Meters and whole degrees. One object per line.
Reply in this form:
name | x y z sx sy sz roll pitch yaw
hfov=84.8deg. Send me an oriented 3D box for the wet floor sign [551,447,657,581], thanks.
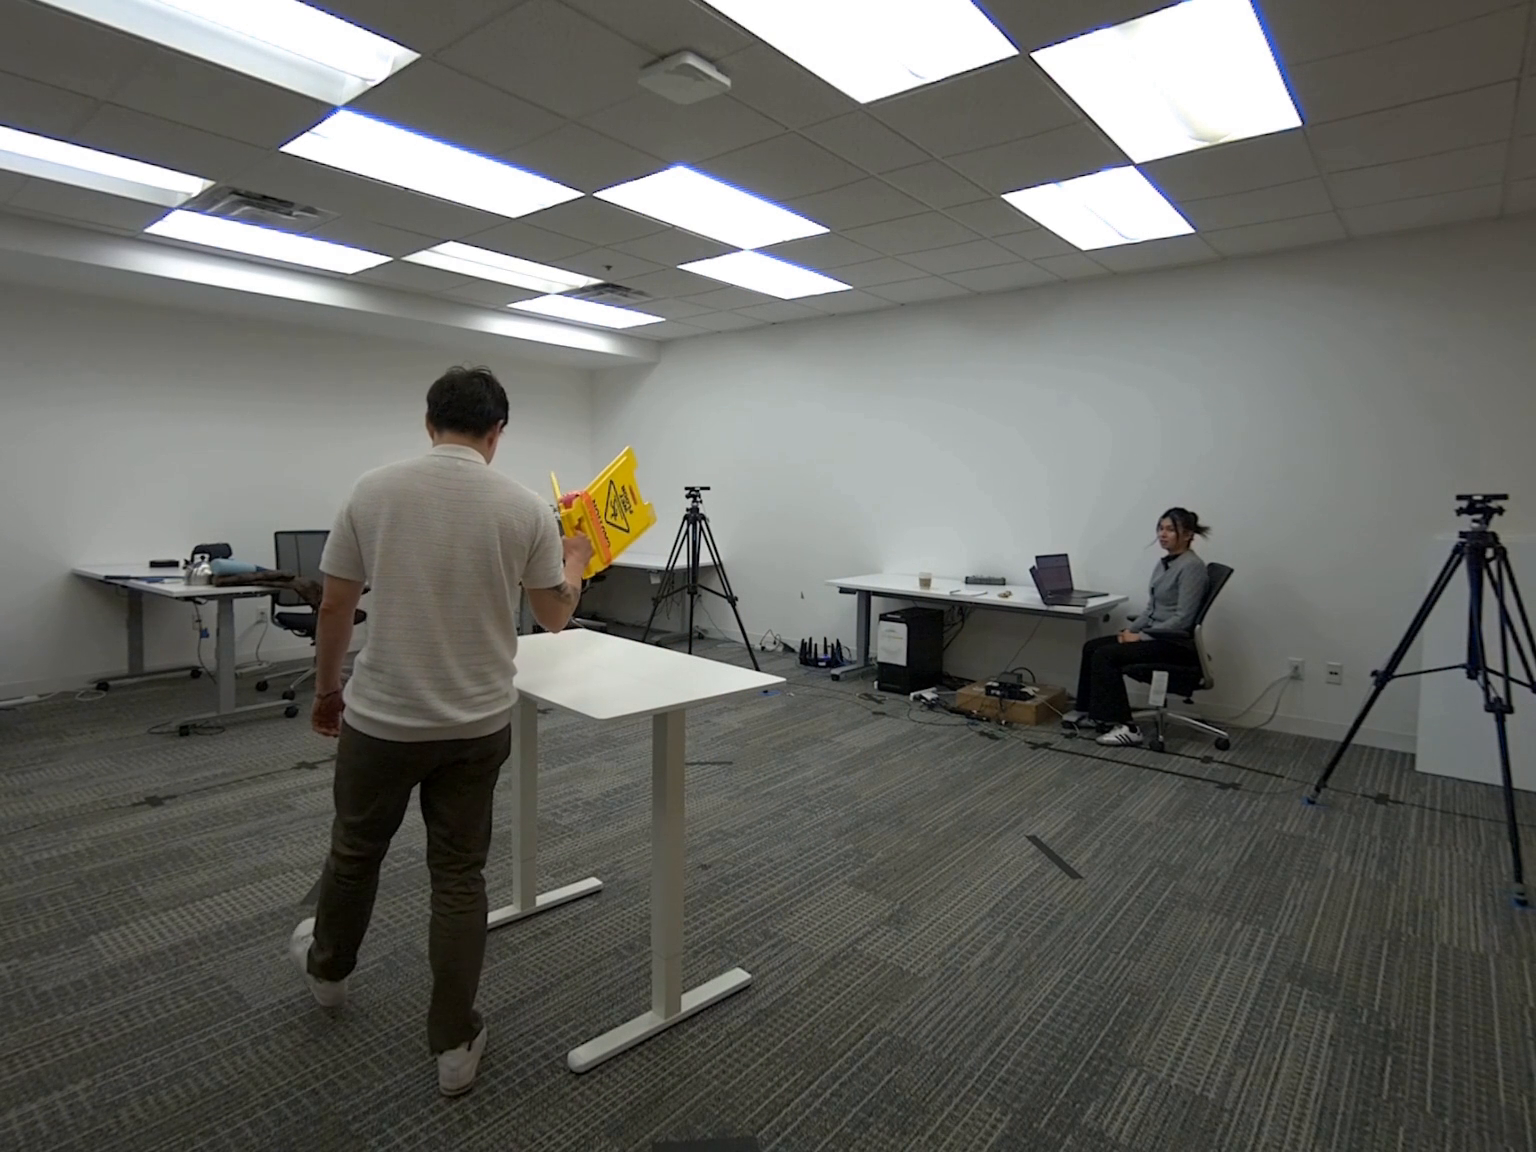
wet floor sign | -0.561 -0.178 2.640 0.290 0.277 0.658 -17 18 2
